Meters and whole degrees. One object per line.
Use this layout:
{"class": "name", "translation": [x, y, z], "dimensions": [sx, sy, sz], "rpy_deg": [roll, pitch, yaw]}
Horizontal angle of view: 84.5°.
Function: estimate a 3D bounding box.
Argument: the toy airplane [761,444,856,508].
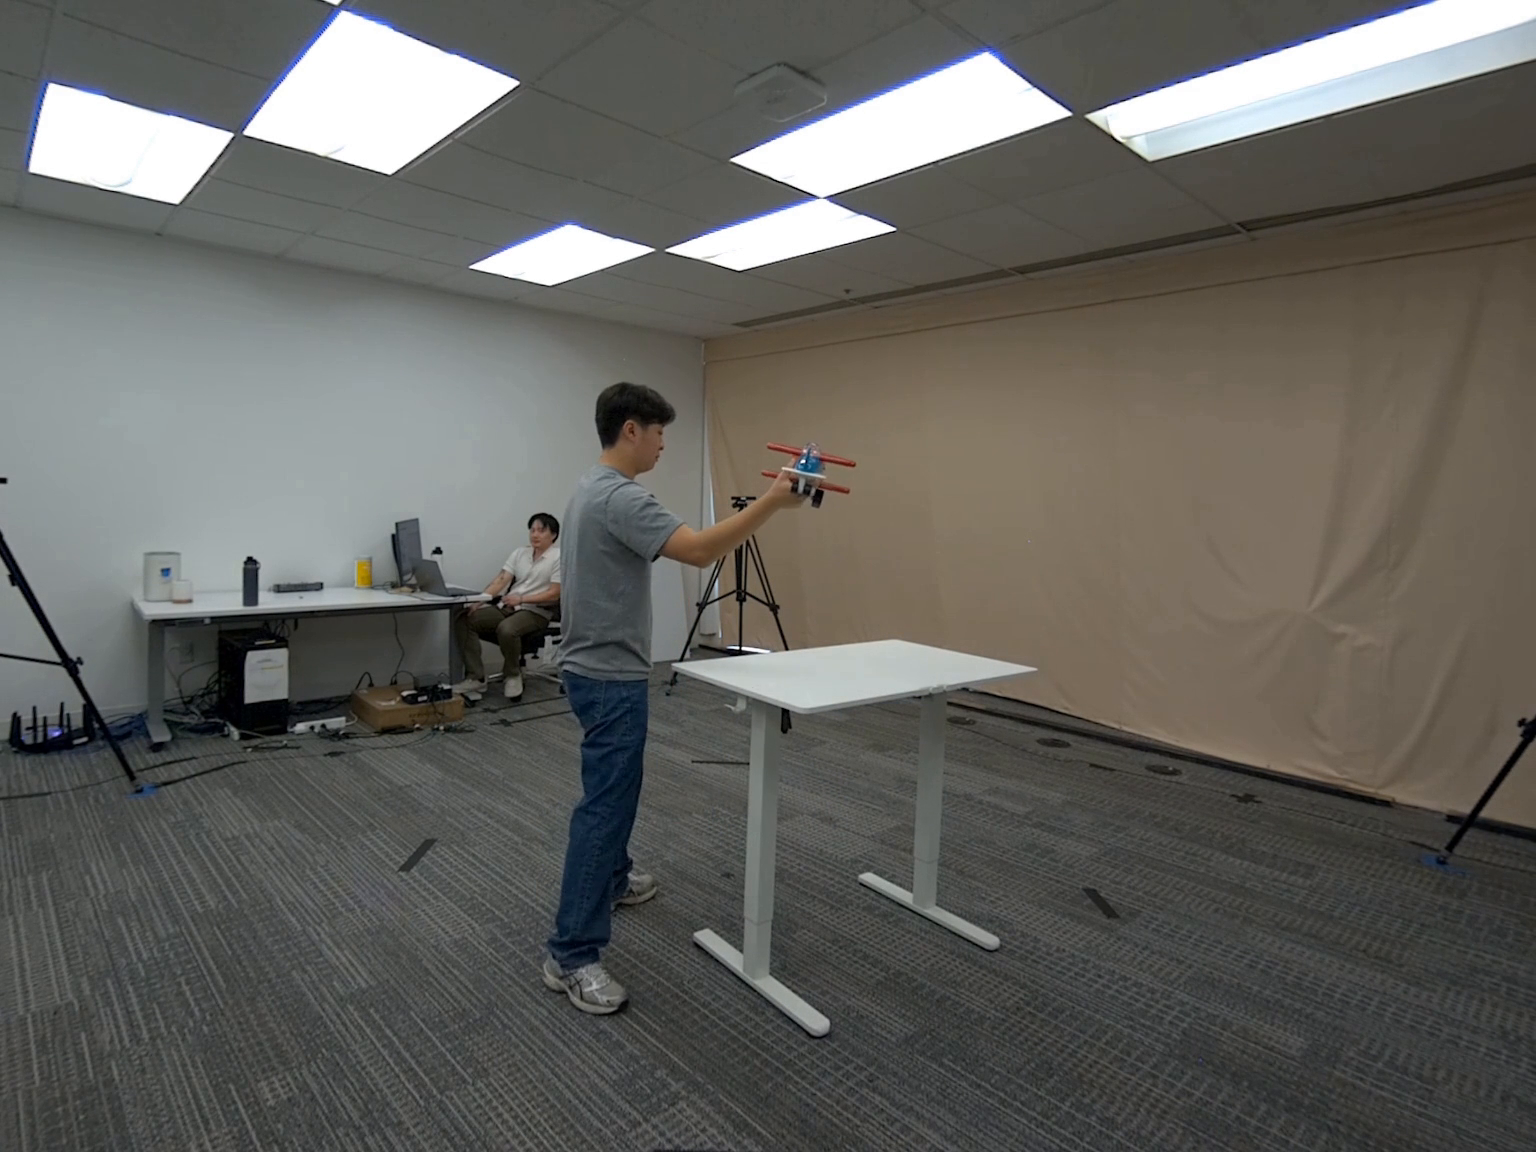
{"class": "toy airplane", "translation": [0.119, -0.283, 2.327], "dimensions": [0.246, 0.156, 0.264], "rpy_deg": [14, -2, -24]}
